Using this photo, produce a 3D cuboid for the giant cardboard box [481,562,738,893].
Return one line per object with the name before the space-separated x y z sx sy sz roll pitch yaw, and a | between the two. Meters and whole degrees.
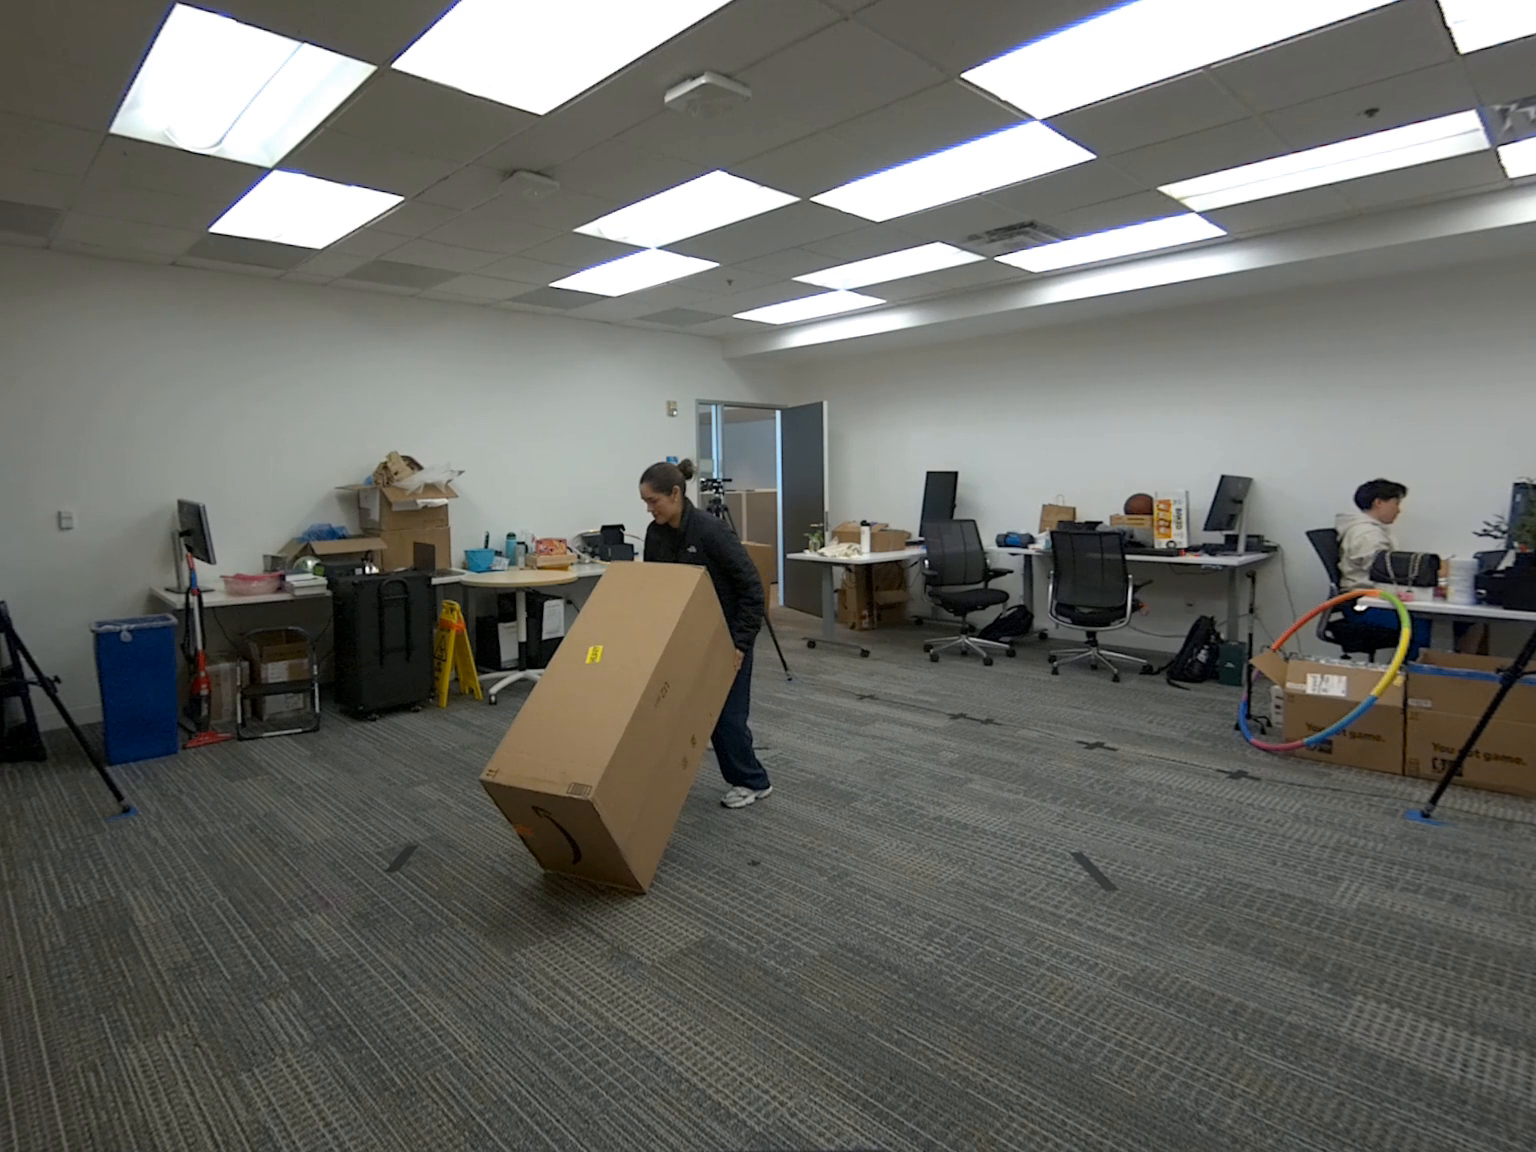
giant cardboard box | -0.525 0.512 3.160 0.456 0.564 1.040 0 43 22
